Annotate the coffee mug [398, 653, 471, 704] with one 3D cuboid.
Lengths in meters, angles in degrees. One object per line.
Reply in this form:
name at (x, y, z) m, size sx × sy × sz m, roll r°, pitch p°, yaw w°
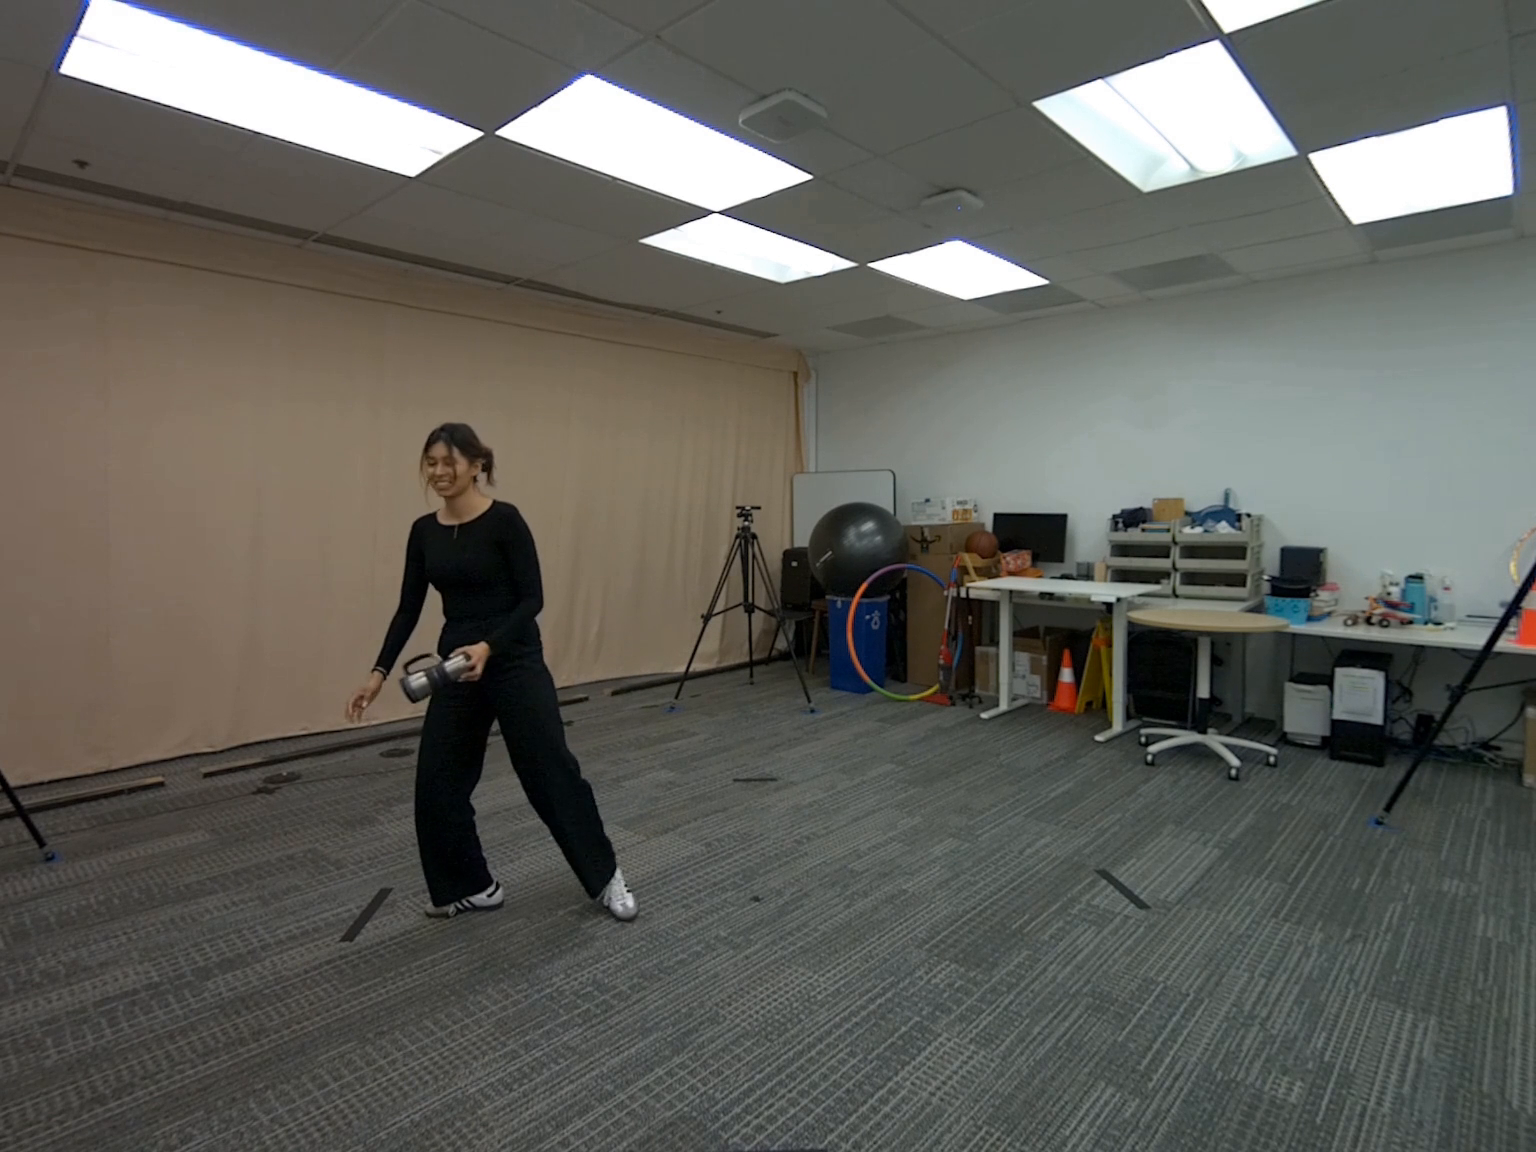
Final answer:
coffee mug at (-0.985, 0.279, 2.528) m, size 0.202 × 0.121 × 0.089 m, roll -28°, pitch 7°, yaw -10°
